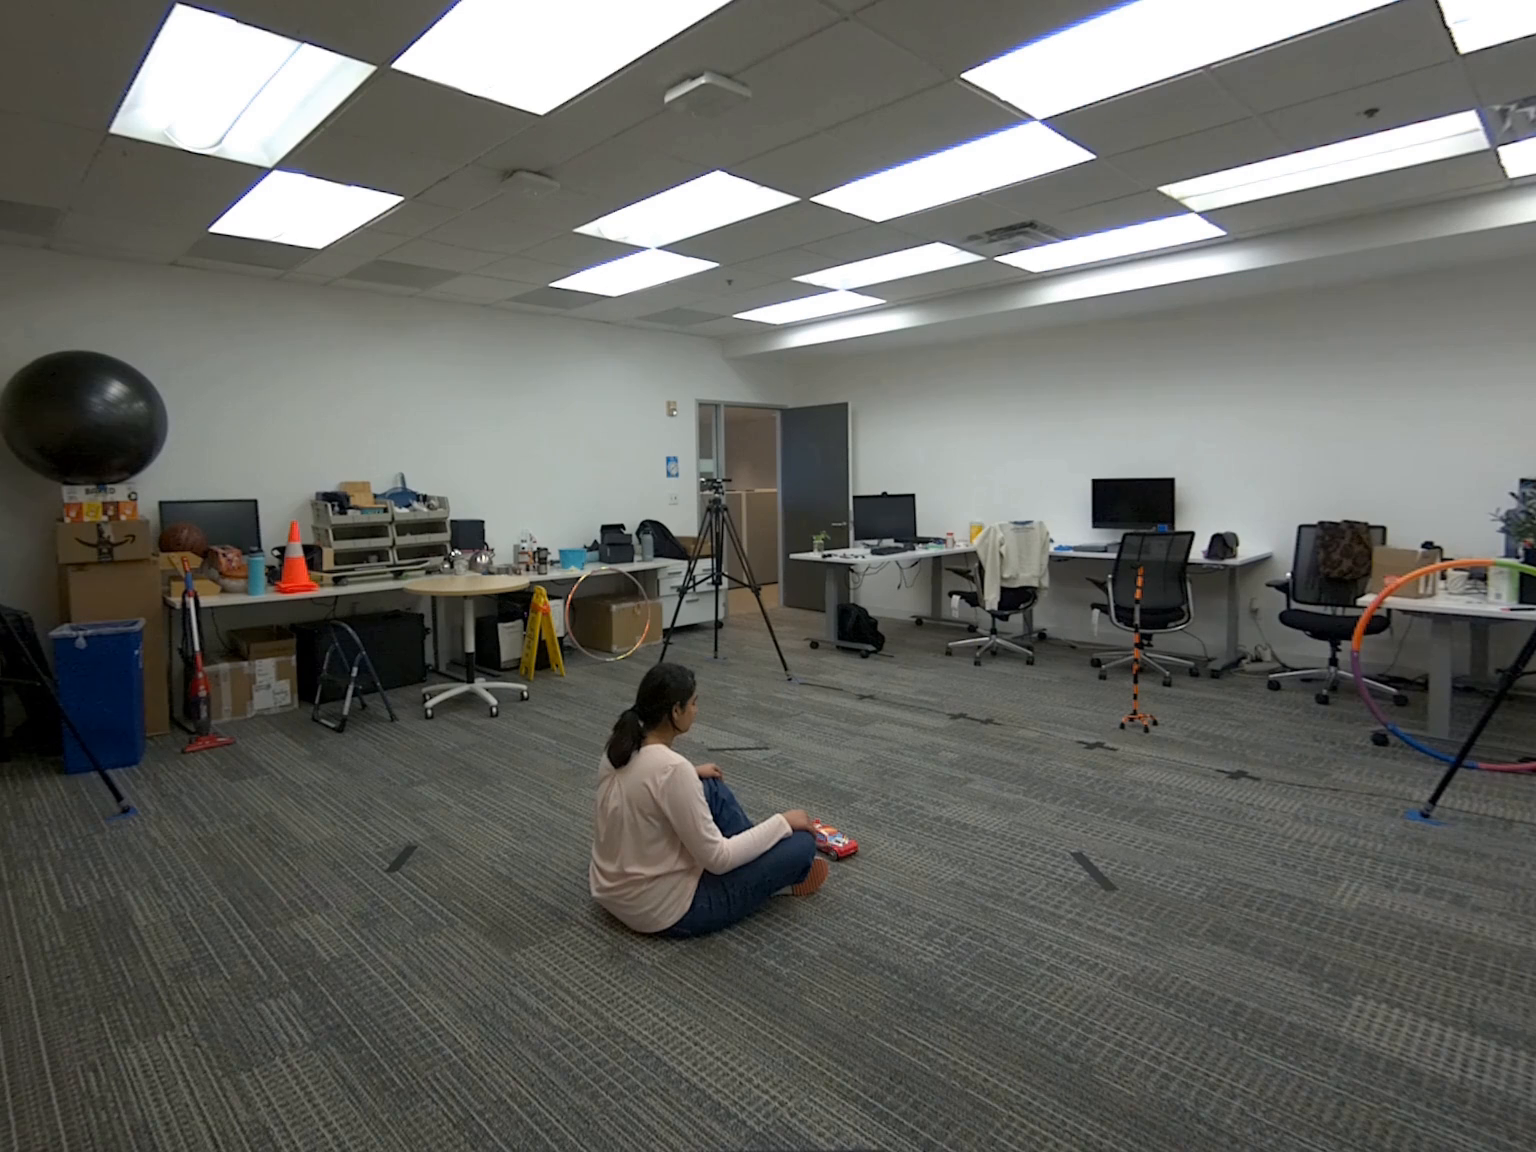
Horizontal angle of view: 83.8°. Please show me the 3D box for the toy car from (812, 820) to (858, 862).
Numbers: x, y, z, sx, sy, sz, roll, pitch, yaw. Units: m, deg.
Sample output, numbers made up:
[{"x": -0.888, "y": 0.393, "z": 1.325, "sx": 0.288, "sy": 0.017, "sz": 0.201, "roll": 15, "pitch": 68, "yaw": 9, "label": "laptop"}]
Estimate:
[{"x": 0.217, "y": 0.984, "z": 3.220, "sx": 0.127, "sy": 0.082, "sz": 0.264, "roll": -5, "pitch": 18, "yaw": -38, "label": "toy car"}]
